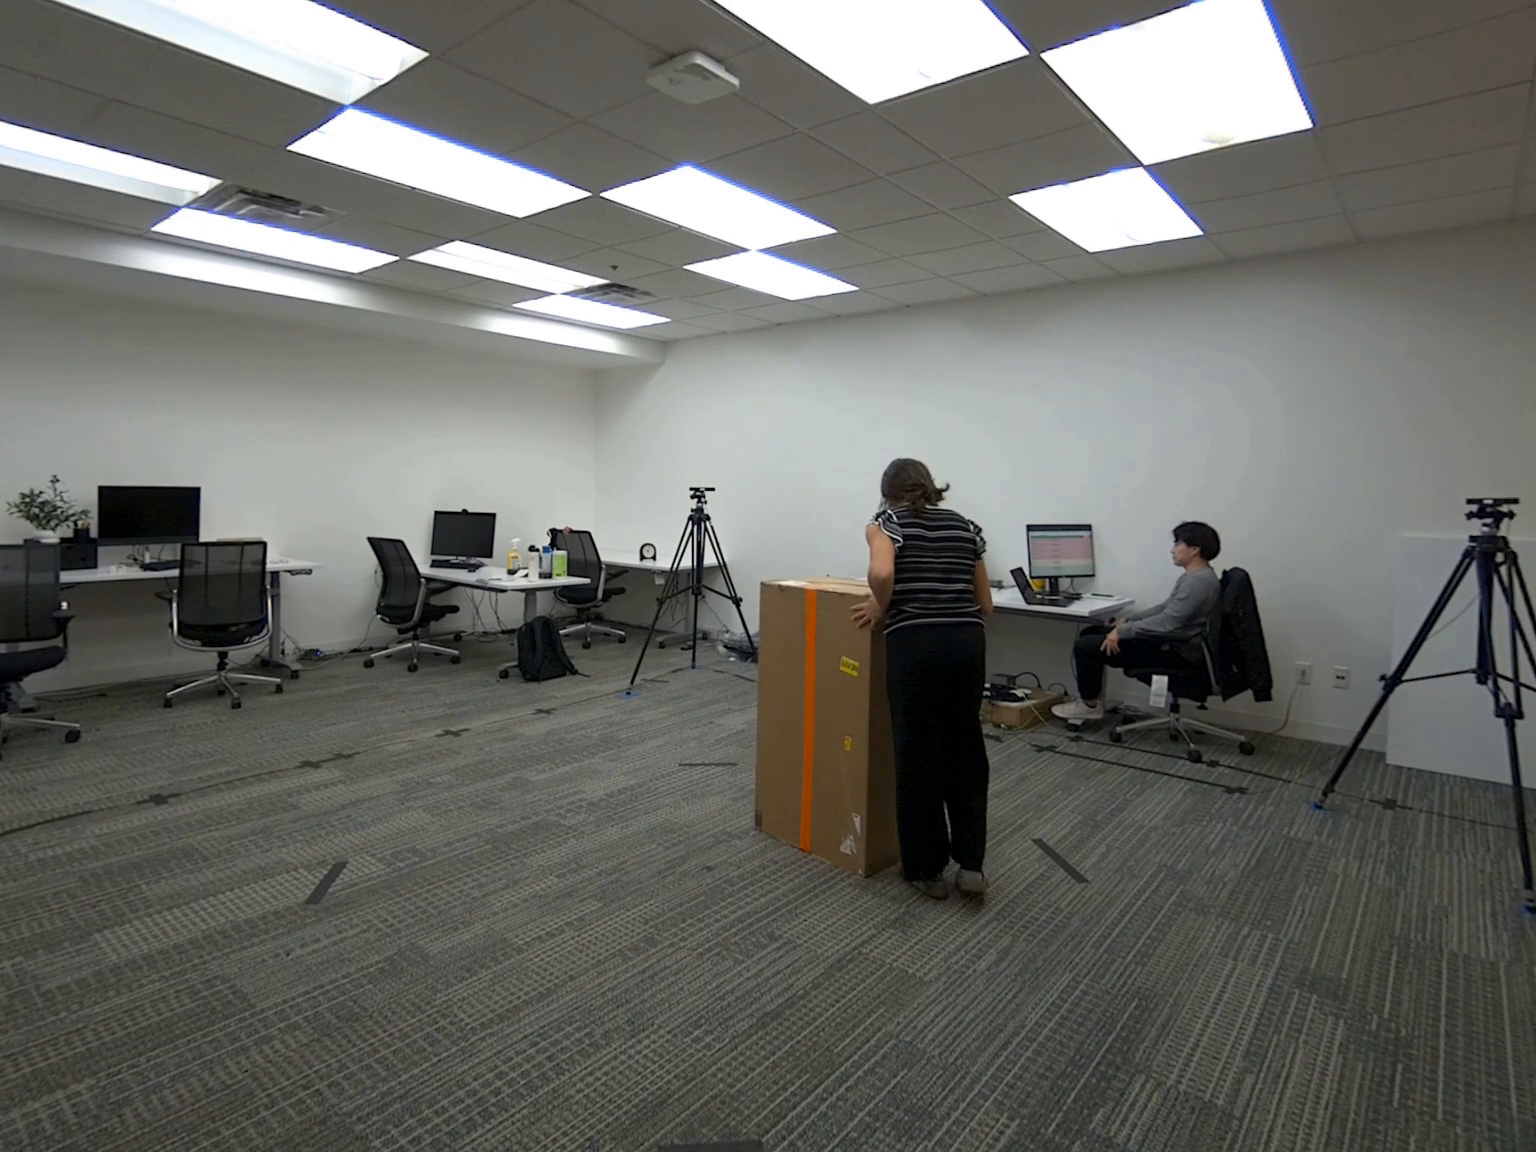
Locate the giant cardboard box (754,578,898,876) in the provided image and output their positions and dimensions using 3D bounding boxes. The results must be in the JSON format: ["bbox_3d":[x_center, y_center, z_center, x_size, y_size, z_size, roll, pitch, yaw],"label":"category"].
[{"bbox_3d":[0.287,0.546,3.394,0.413,1.023,0.597,-1,4,-43],"label":"giant cardboard box"}]
